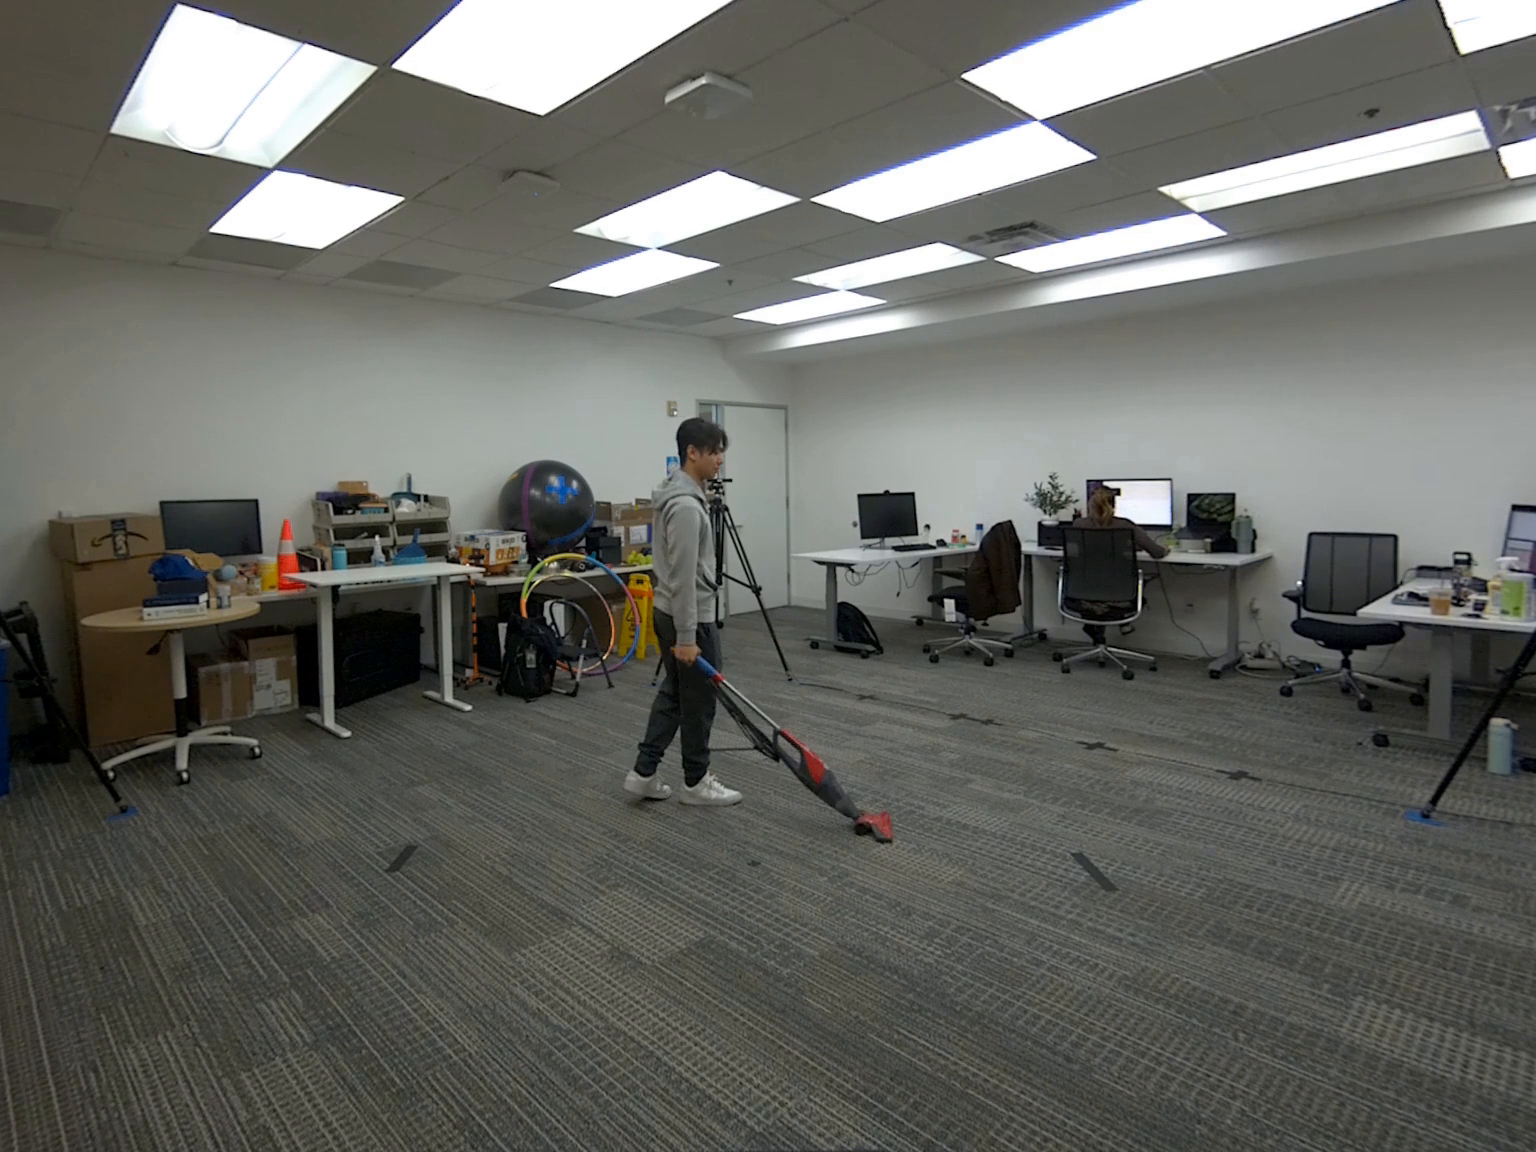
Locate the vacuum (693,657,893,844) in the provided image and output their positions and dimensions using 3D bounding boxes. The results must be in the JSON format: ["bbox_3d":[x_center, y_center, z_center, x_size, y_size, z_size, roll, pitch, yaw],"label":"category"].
[{"bbox_3d":[0.025,0.651,3.438,1.056,0.144,0.251,41,13,5],"label":"vacuum"}]
